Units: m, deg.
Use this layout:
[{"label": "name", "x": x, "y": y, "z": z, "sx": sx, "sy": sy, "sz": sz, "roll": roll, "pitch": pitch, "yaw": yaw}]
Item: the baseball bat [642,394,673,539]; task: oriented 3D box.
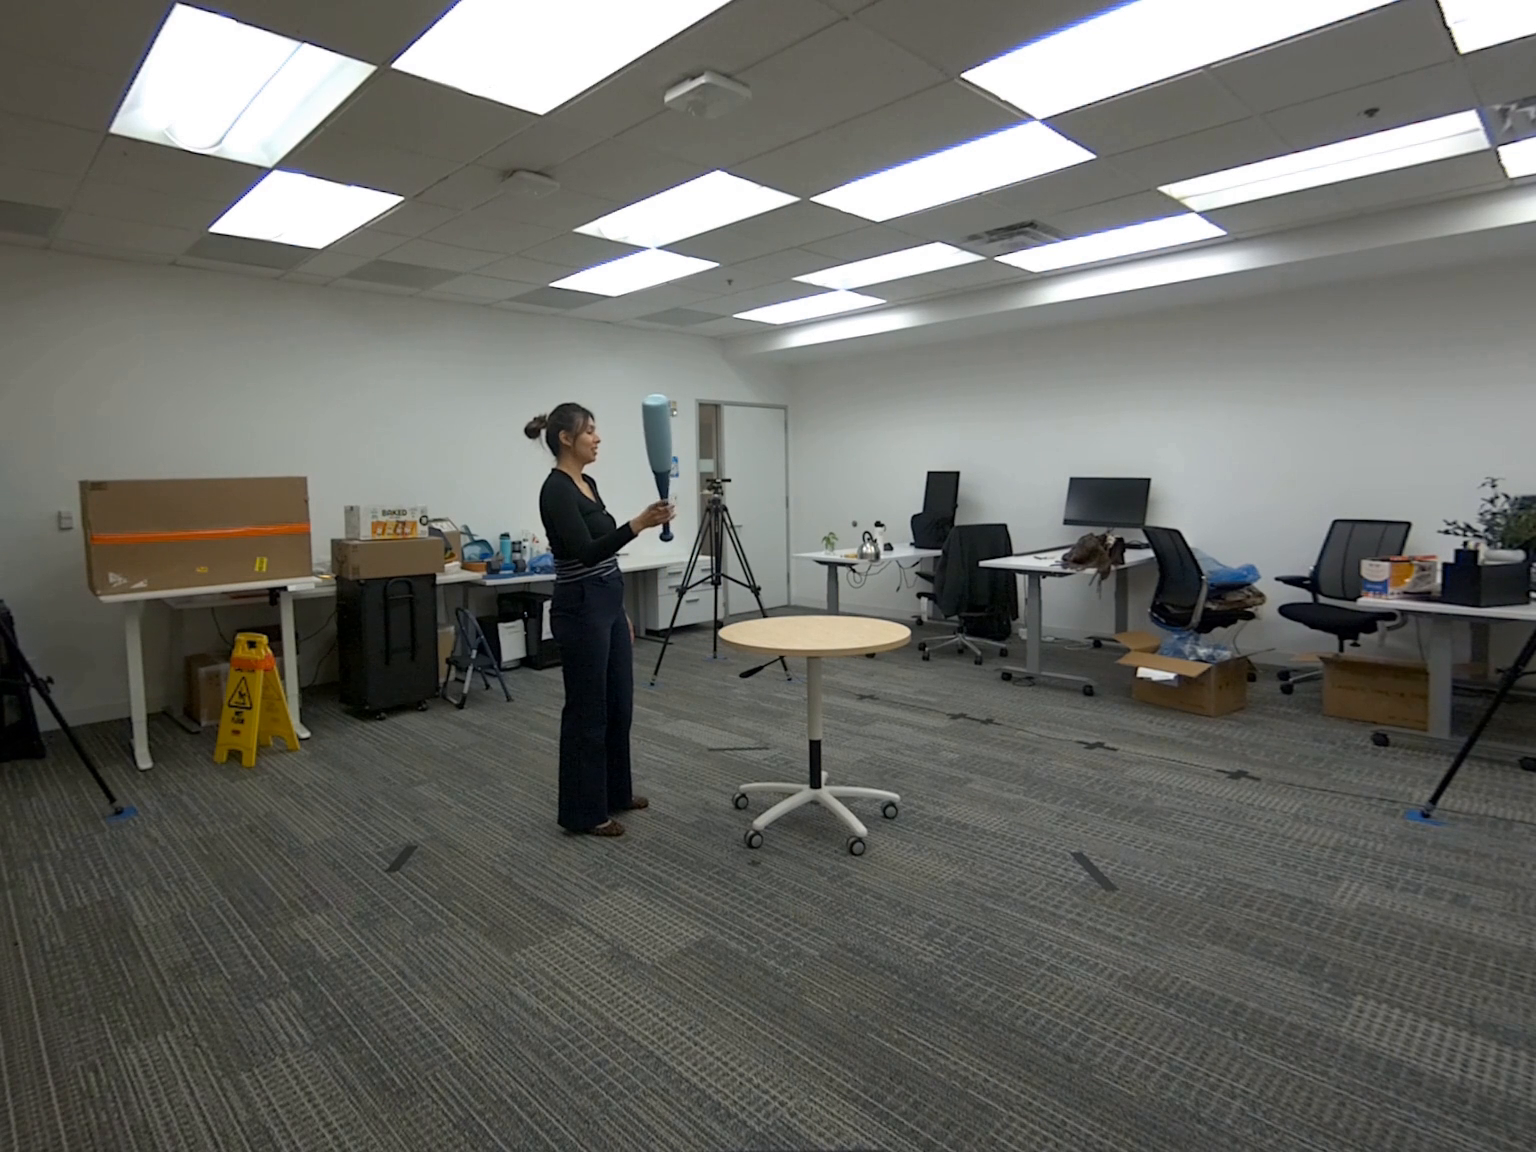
[{"label": "baseball bat", "x": -0.353, "y": -0.326, "z": 2.855, "sx": 0.089, "sy": 0.529, "sz": 0.091, "roll": -1, "pitch": 34, "yaw": -1}]
